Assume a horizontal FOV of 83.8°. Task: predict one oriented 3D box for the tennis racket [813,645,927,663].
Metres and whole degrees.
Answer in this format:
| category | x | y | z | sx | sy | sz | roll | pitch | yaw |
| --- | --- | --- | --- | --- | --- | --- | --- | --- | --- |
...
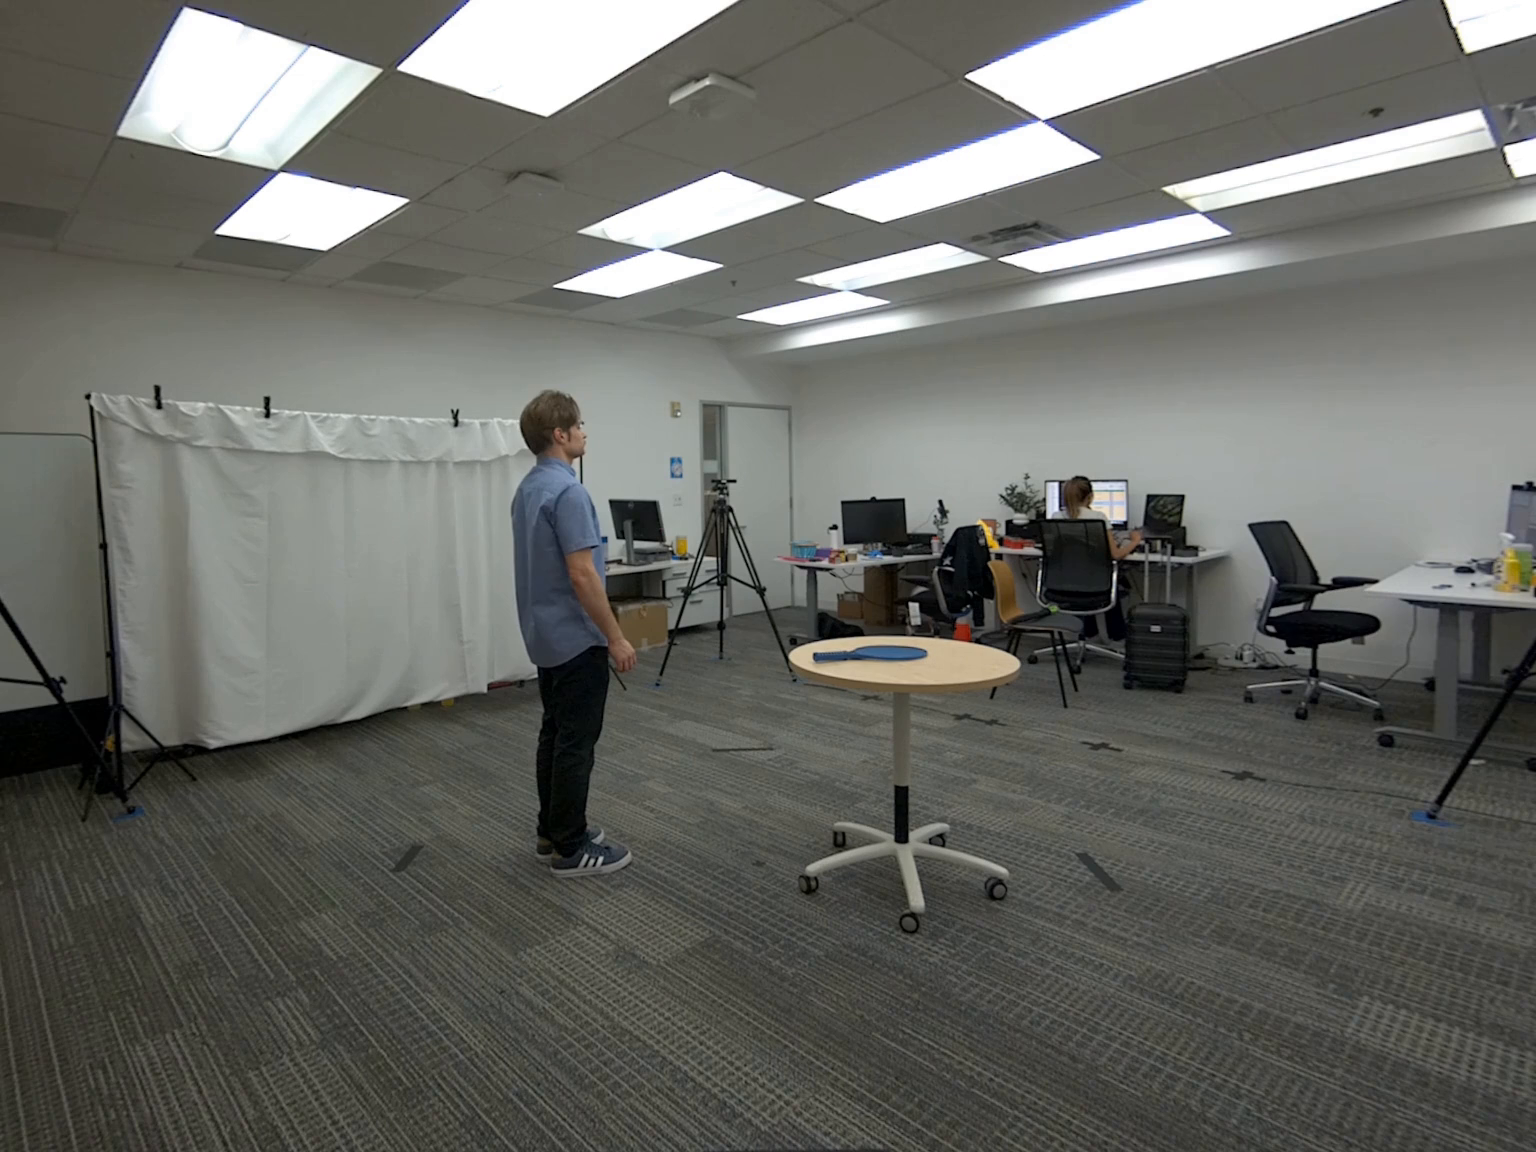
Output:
| category | x | y | z | sx | sy | sz | roll | pitch | yaw |
| --- | --- | --- | --- | --- | --- | --- | --- | --- | --- |
| tennis racket | 0.352 | 0.265 | 2.928 | 0.424 | 0.031 | 0.219 | -1 | 7 | -22 |
